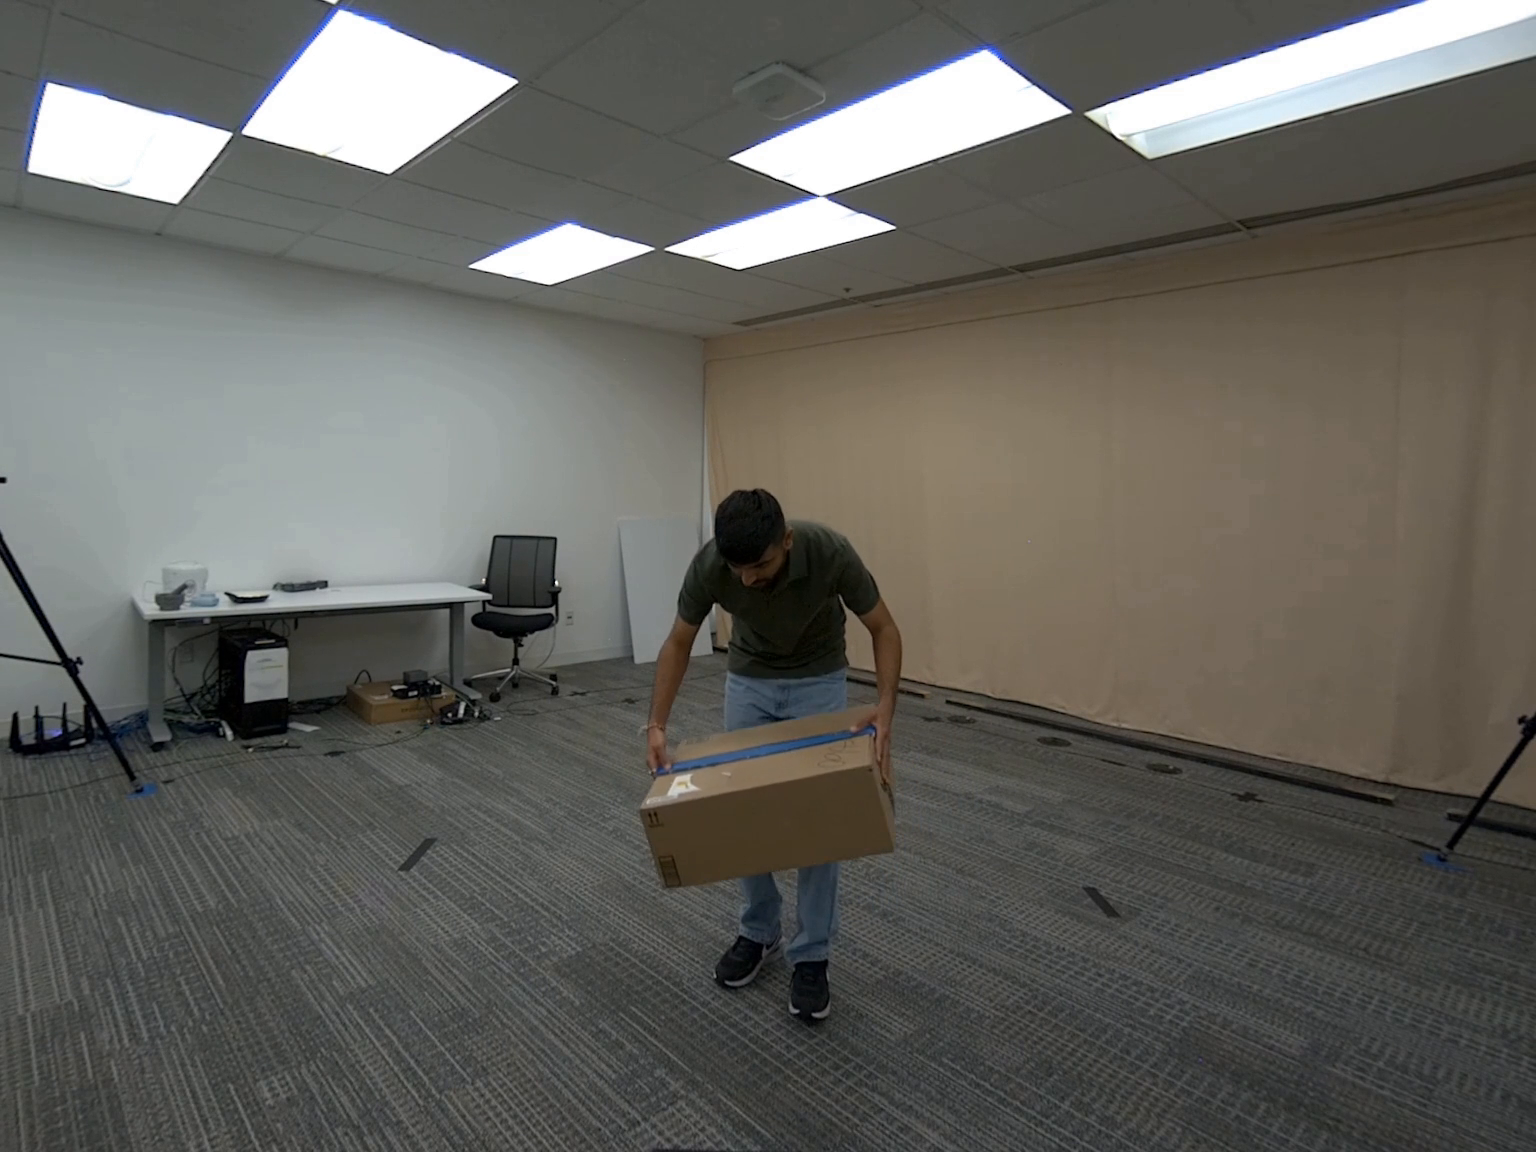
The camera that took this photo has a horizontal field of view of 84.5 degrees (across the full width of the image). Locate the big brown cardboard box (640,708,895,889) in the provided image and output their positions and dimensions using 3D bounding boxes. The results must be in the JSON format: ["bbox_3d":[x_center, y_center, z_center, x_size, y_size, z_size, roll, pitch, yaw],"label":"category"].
[{"bbox_3d":[0.004,0.549,2.136,0.593,0.232,0.417,-13,8,12],"label":"big brown cardboard box"}]
